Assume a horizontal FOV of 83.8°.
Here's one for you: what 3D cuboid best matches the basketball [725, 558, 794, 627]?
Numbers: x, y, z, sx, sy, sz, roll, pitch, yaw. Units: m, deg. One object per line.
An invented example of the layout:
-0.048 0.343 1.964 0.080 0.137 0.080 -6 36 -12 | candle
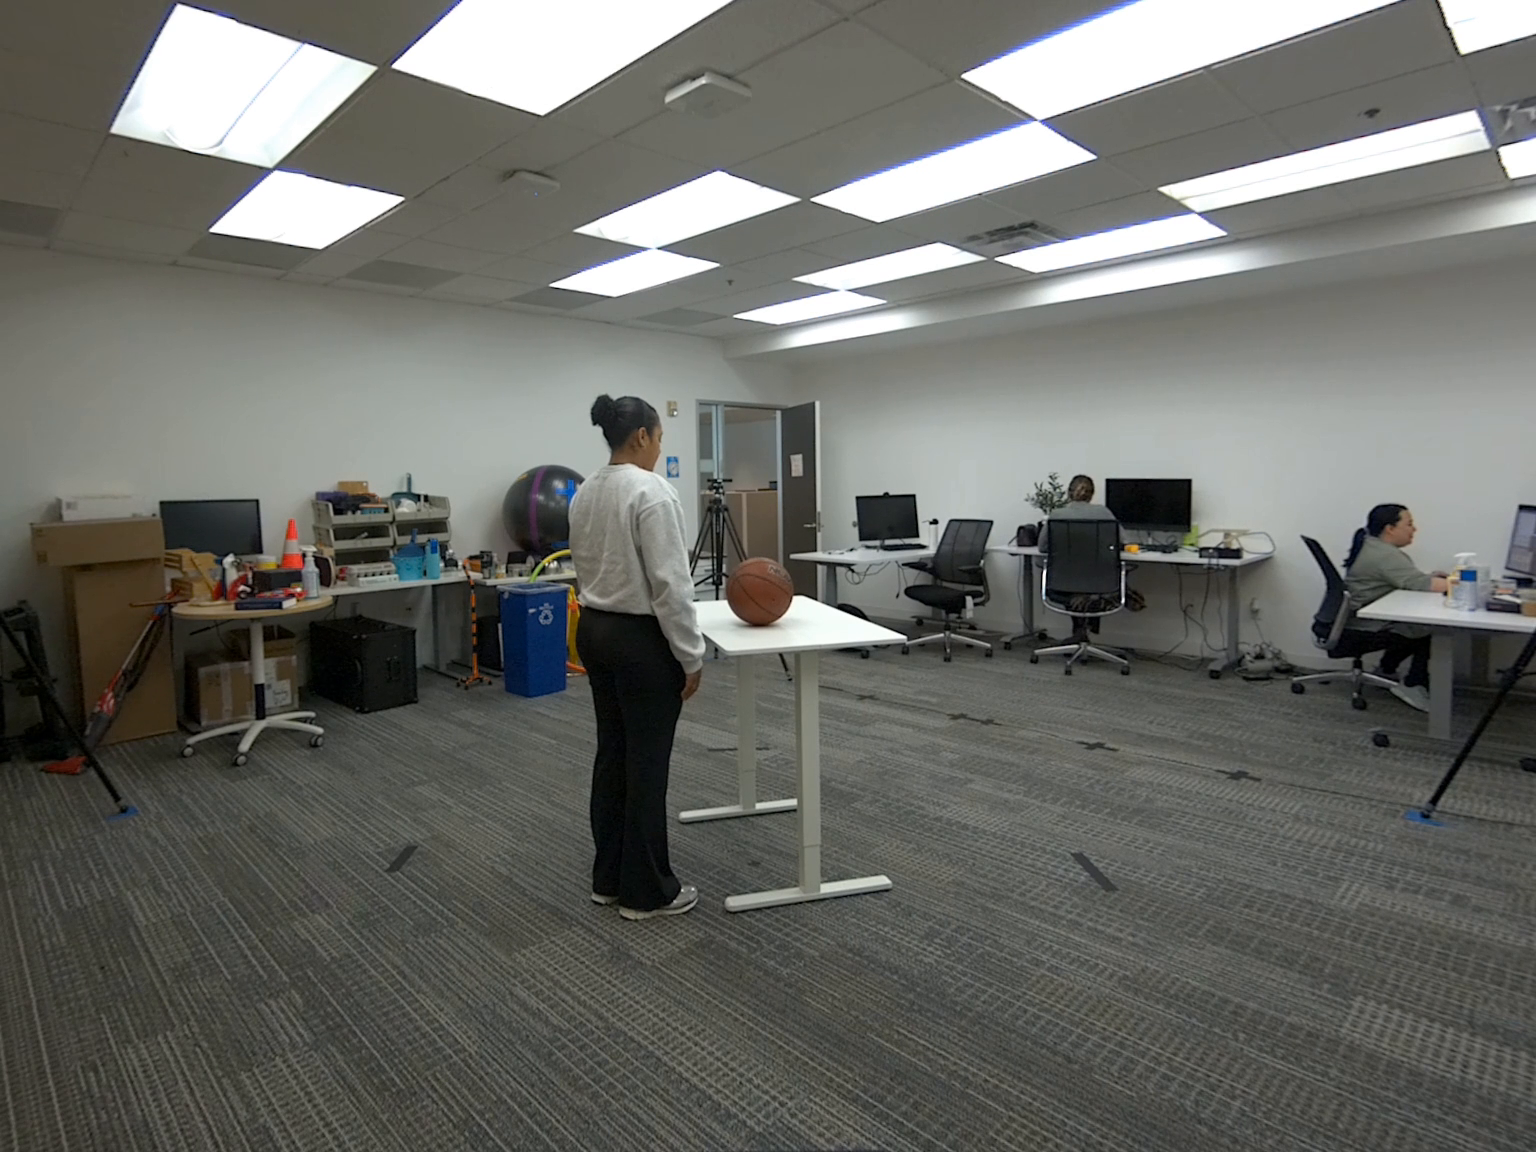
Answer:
-0.028 0.054 3.023 0.236 0.235 0.237 -1 5 -2 | basketball
